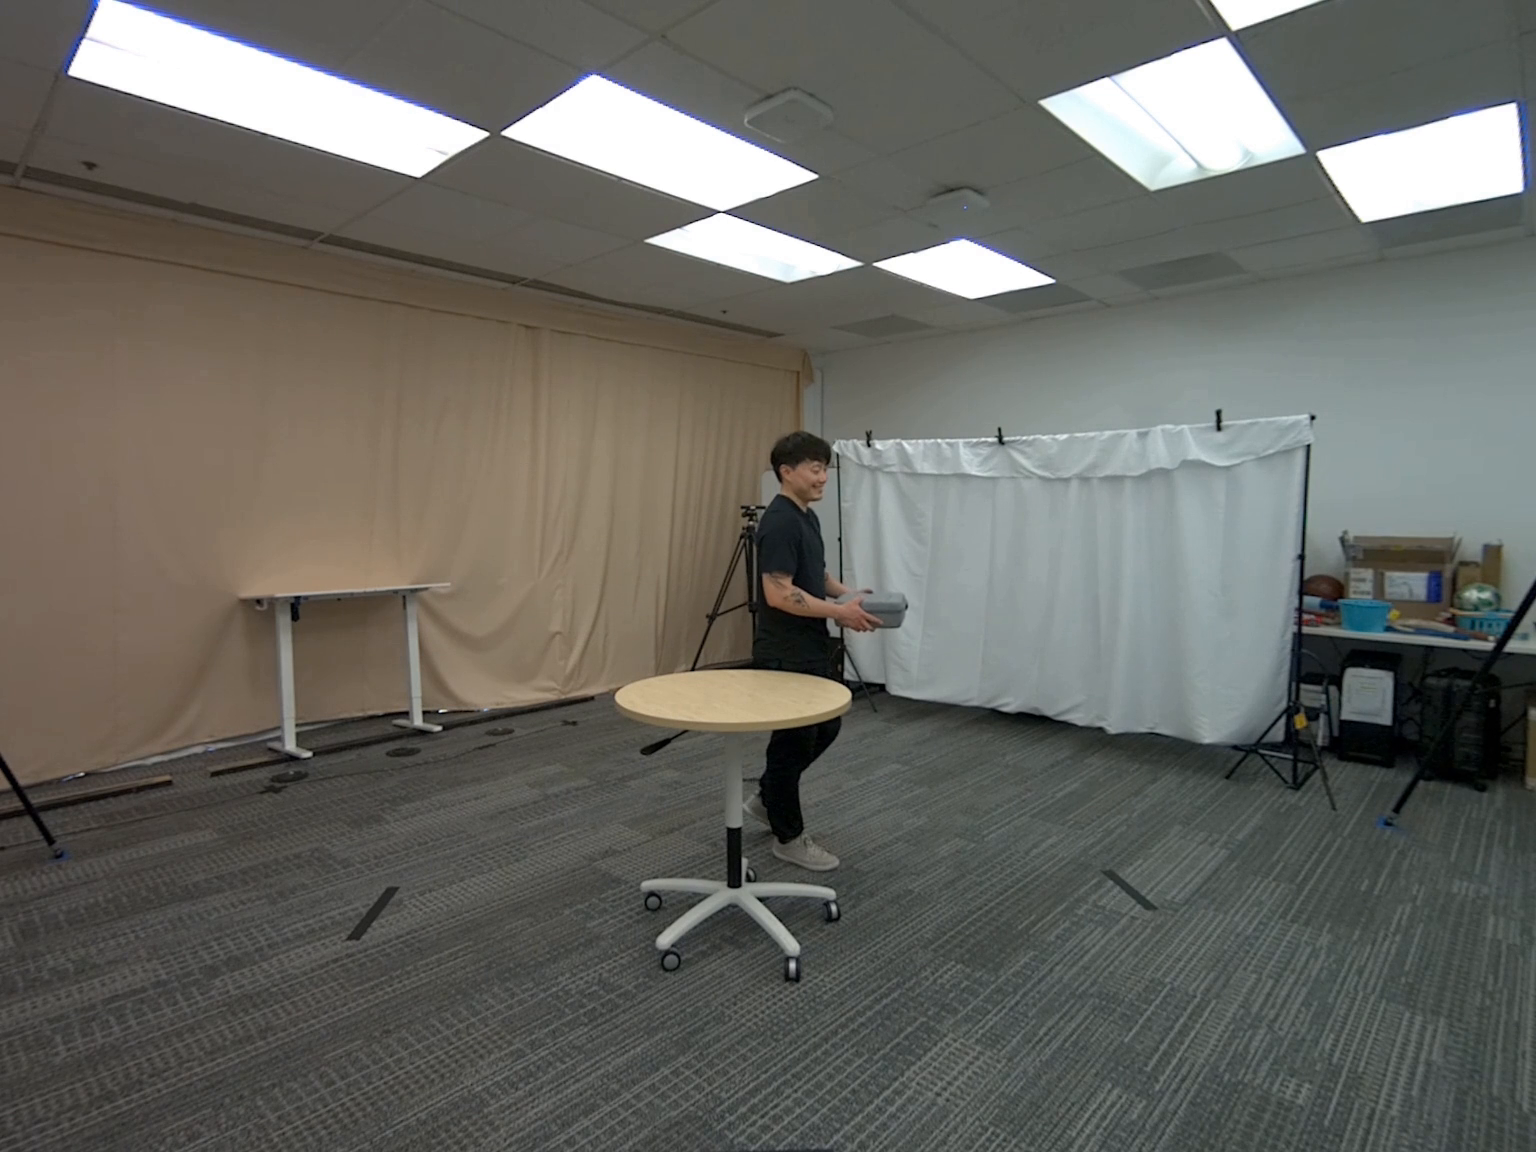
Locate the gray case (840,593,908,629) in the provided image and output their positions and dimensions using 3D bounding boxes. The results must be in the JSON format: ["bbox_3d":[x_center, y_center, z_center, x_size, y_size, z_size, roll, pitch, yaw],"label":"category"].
[{"bbox_3d":[0.414,0.138,3.255,0.257,0.104,0.261,1,4,-14],"label":"gray case"}]
